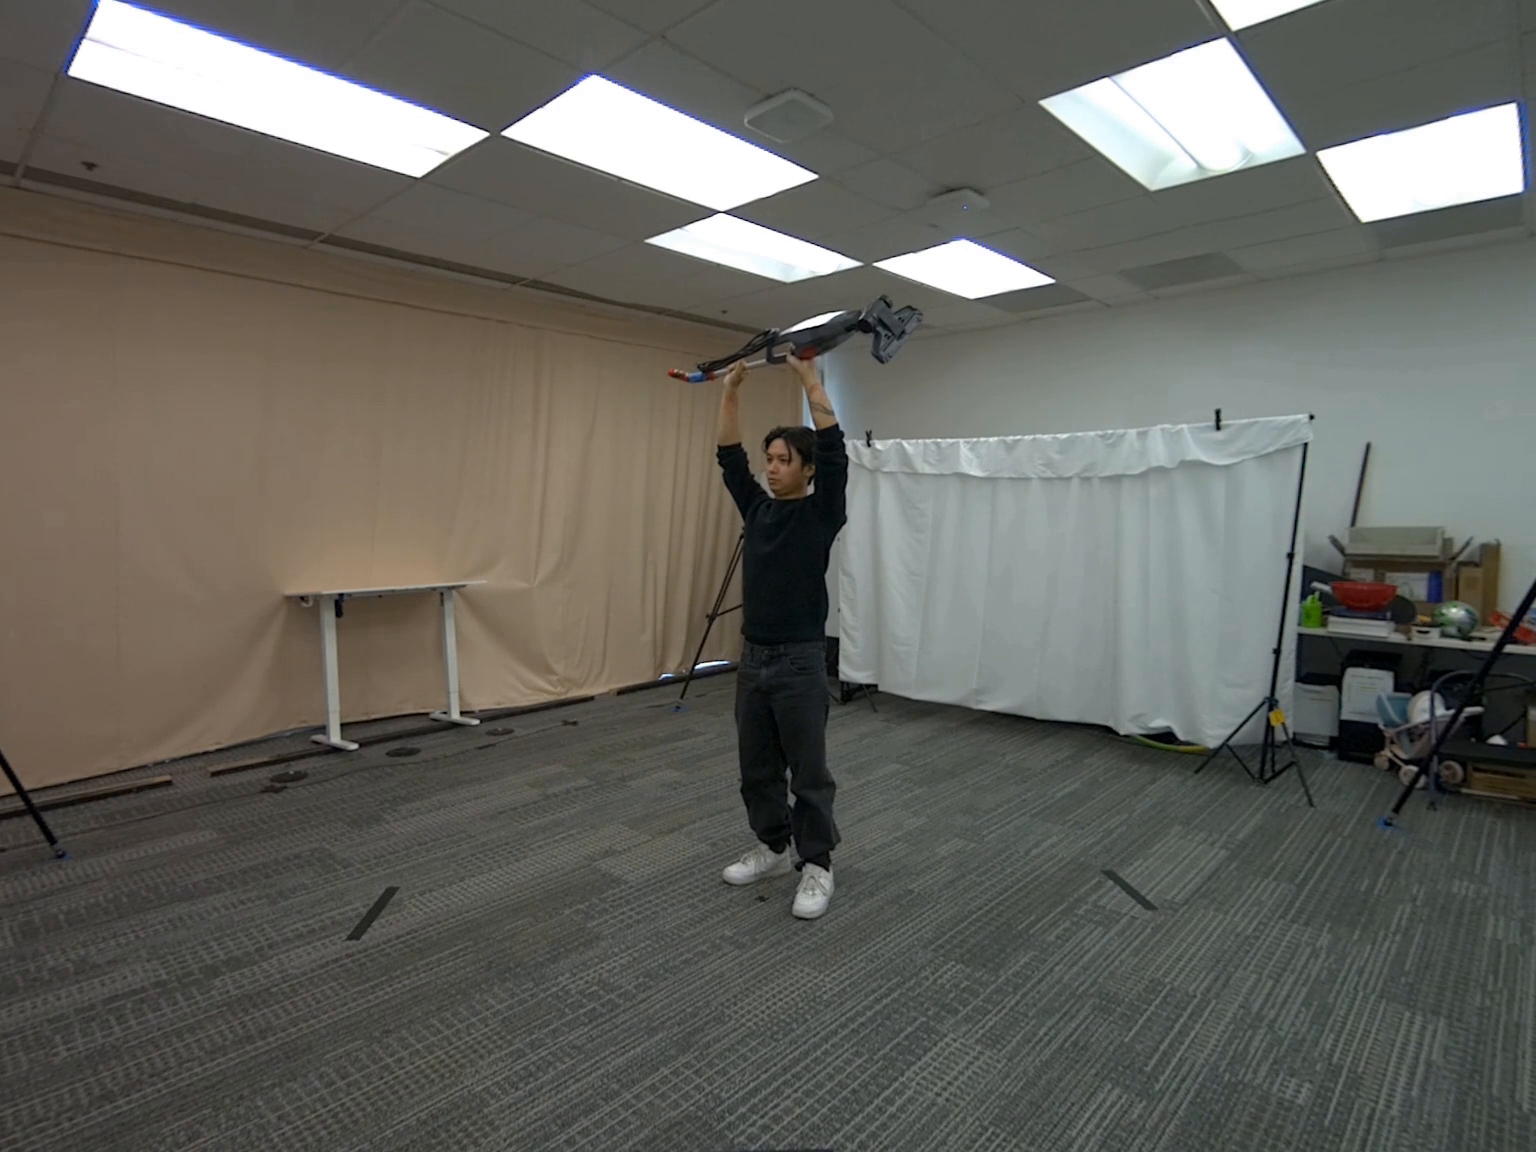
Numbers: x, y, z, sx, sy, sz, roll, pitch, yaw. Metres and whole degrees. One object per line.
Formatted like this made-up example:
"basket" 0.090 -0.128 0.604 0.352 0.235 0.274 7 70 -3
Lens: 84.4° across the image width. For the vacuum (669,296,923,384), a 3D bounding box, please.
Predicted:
"vacuum" -0.003 -0.776 2.880 1.084 0.140 0.250 4 41 46
